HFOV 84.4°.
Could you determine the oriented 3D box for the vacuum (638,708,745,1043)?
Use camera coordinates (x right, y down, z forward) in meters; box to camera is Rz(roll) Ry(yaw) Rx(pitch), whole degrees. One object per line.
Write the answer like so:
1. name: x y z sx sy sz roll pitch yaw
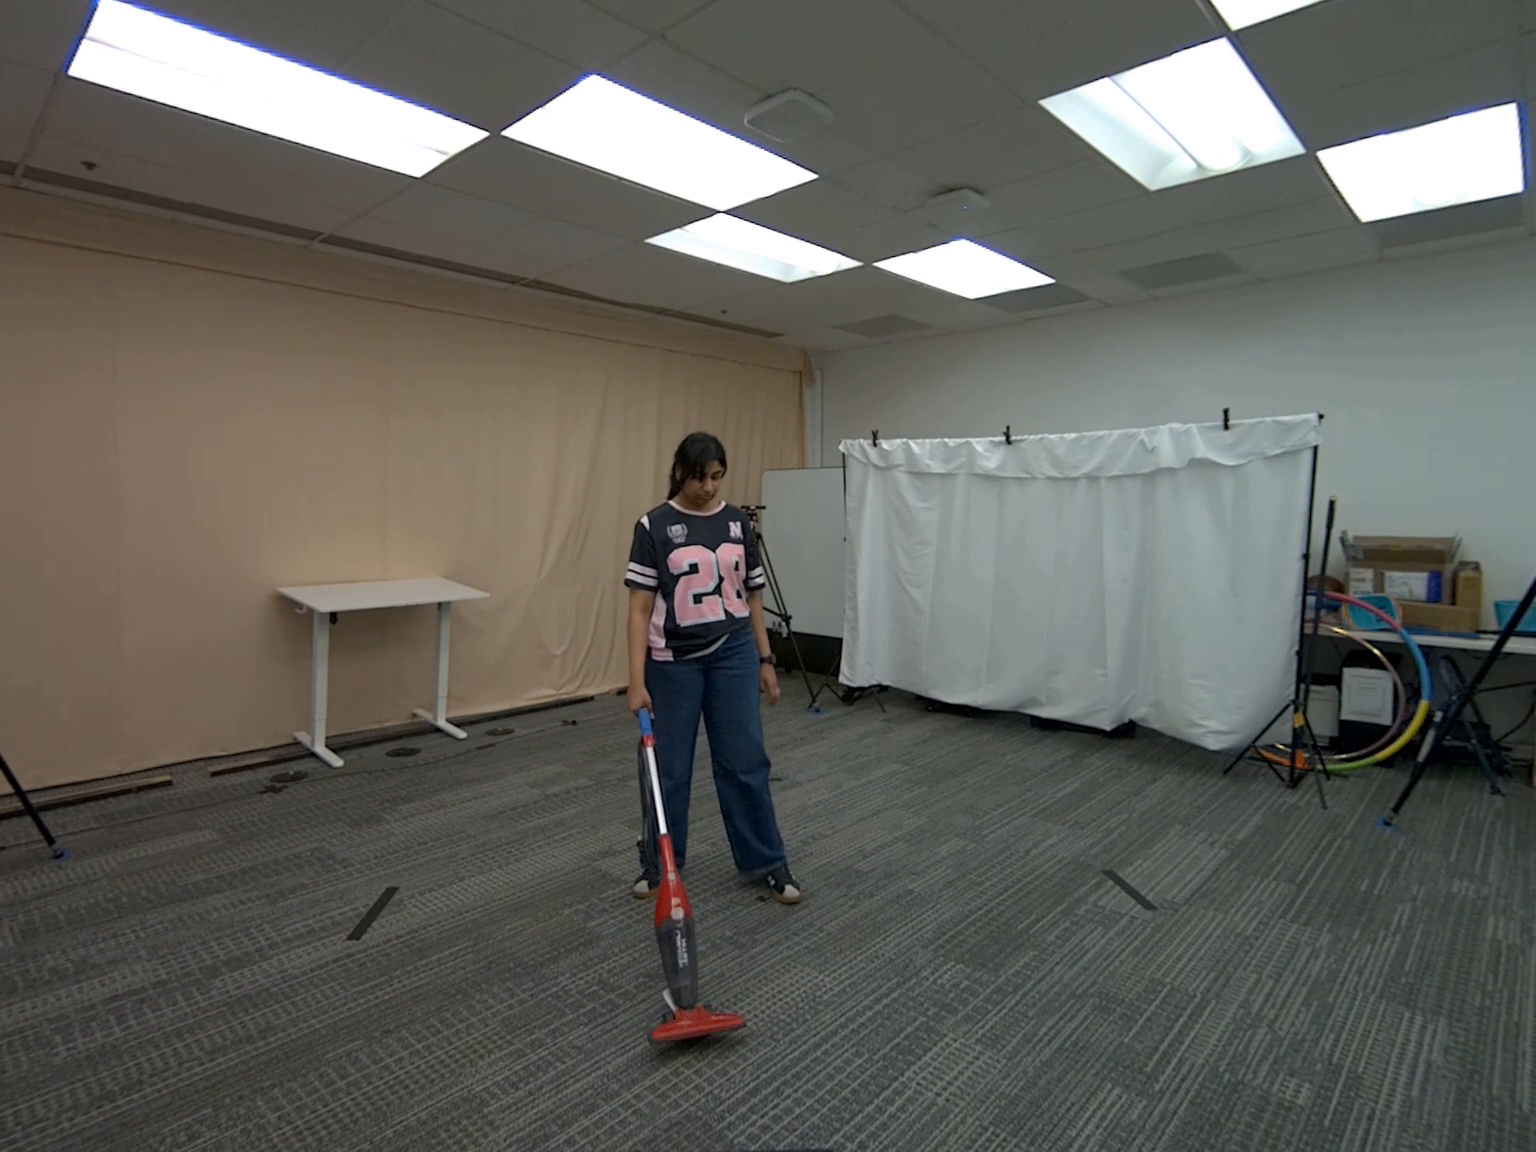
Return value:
1. vacuum: -0.311 0.798 2.540 0.247 0.143 1.077 2 45 -20
